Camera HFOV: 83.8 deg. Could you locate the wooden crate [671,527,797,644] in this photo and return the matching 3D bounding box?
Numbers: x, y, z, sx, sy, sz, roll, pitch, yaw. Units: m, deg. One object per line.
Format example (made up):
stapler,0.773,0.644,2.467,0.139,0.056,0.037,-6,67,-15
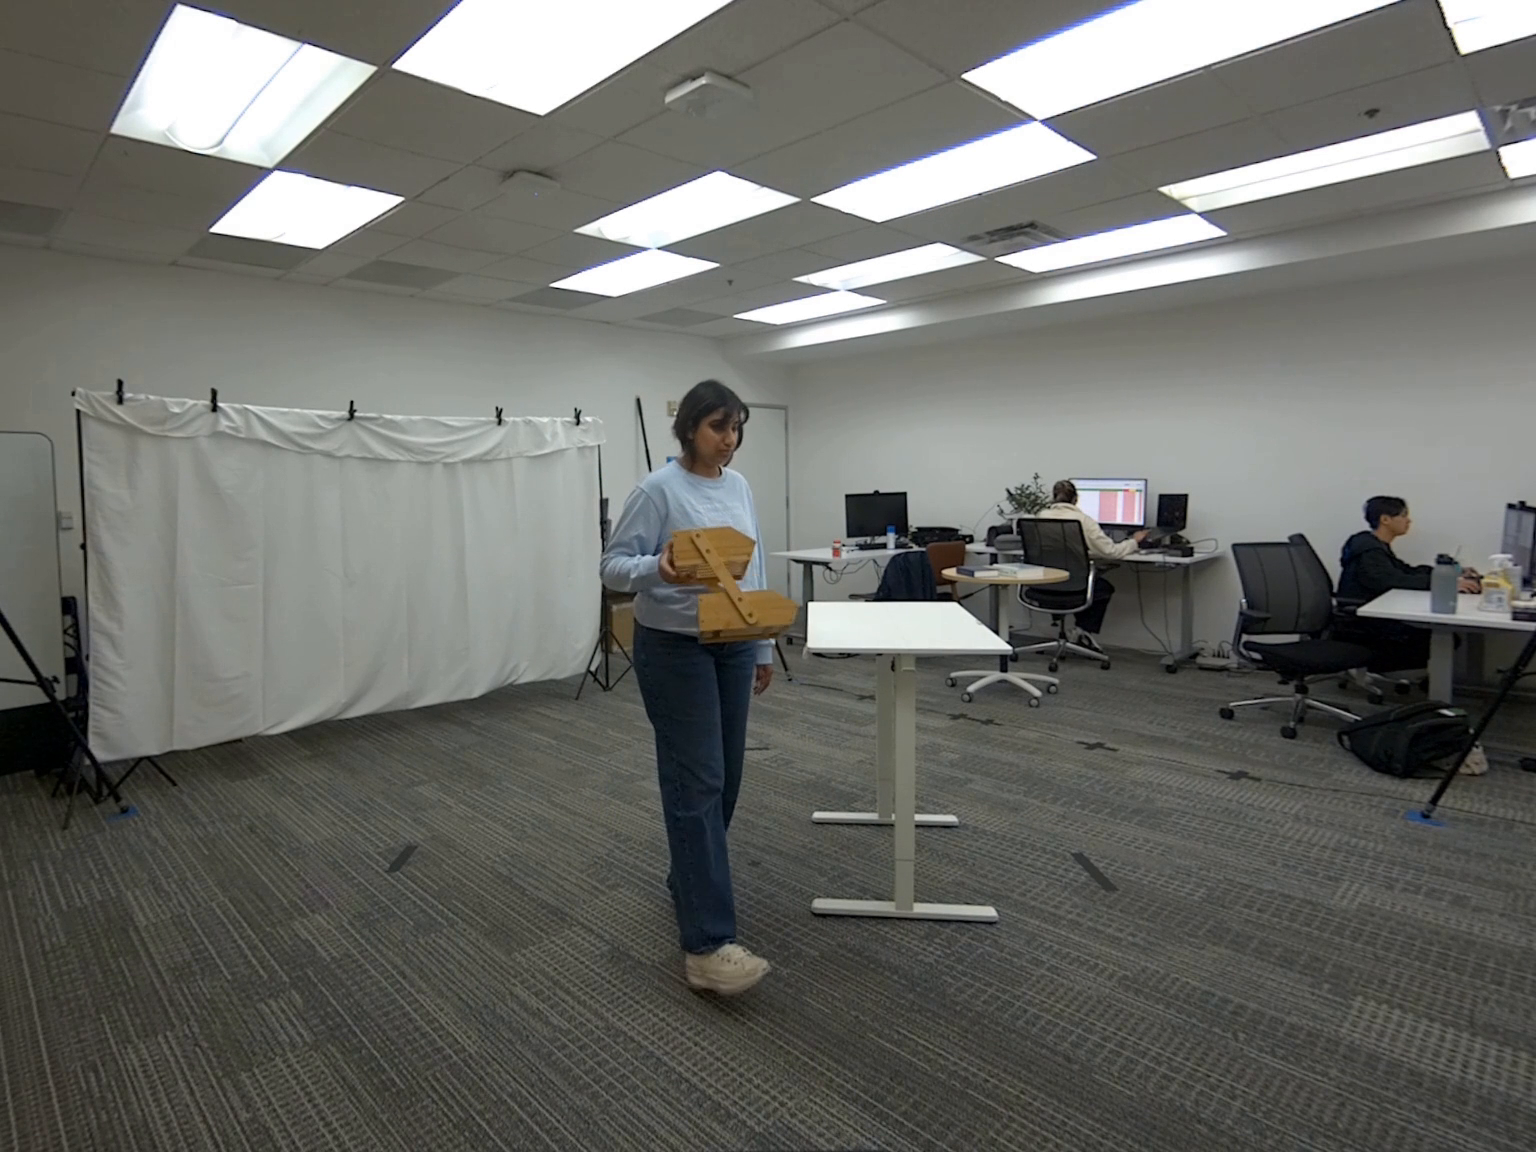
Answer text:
wooden crate,-0.090,0.026,2.273,0.300,0.277,0.322,-6,-11,-7
